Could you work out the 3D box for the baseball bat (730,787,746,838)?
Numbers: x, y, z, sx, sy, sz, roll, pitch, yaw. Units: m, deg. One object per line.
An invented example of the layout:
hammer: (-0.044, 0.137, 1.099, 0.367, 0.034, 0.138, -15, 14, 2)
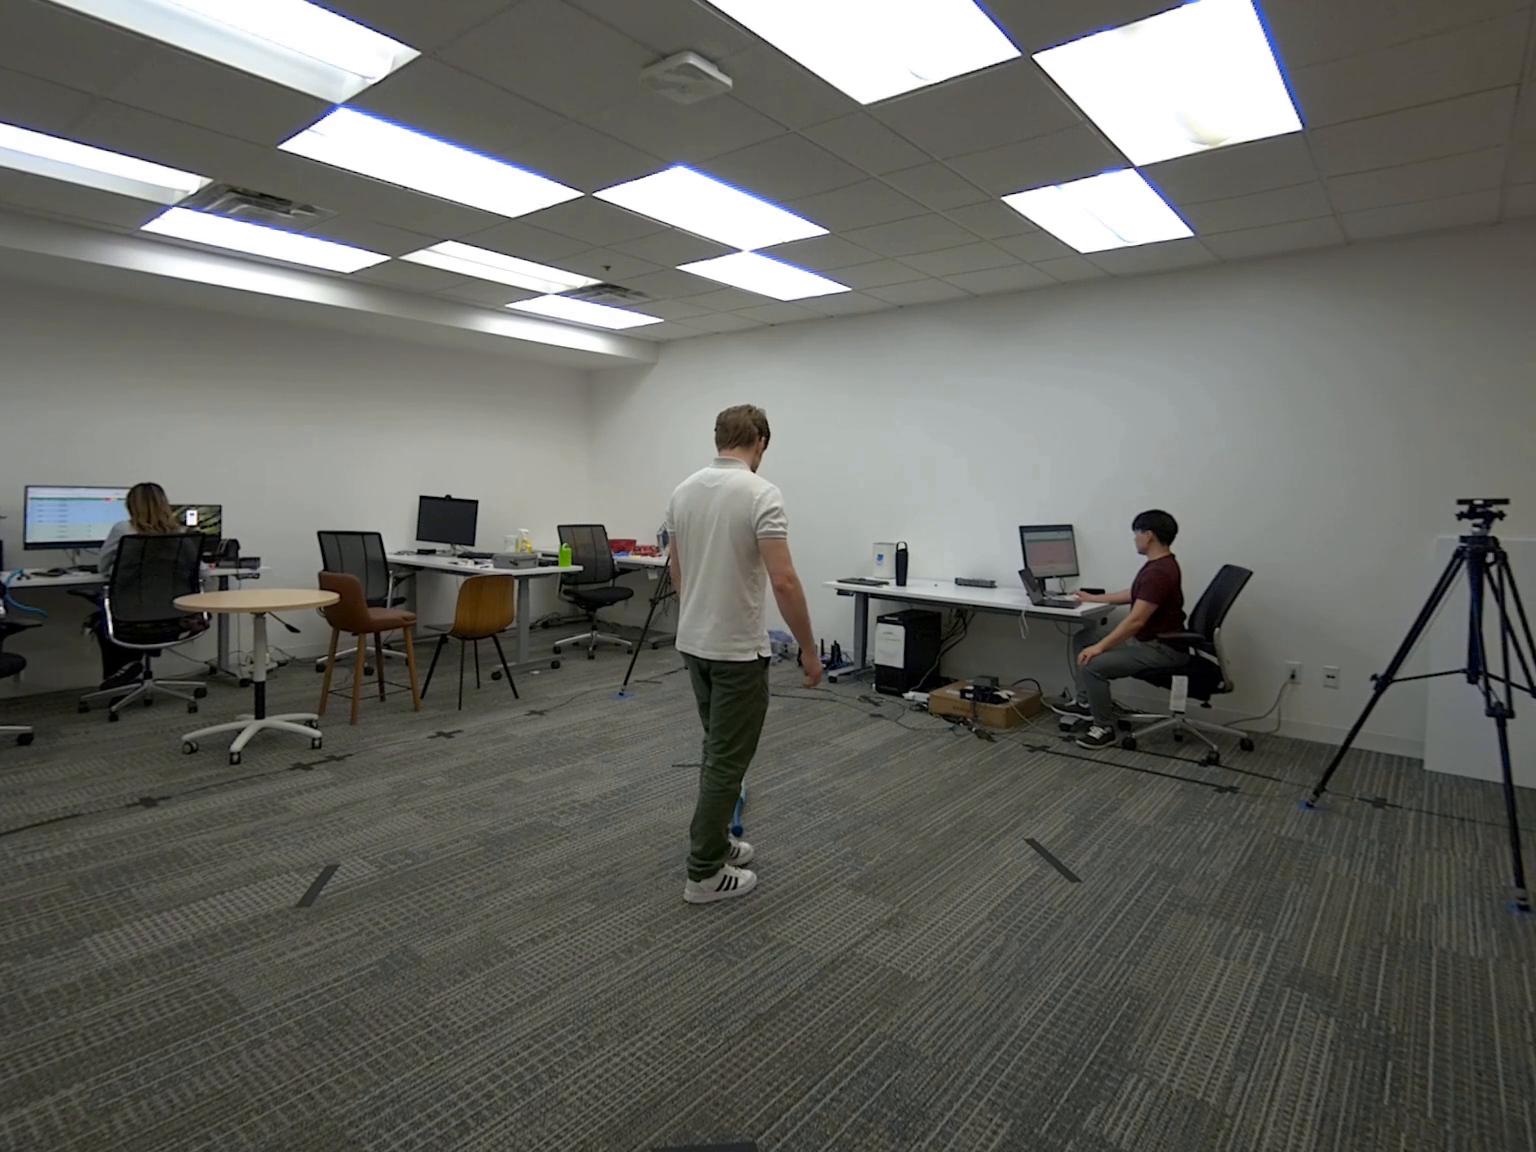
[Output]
baseball bat: (-0.145, 0.982, 3.670, 0.089, 0.088, 0.547, 1, 8, -2)
